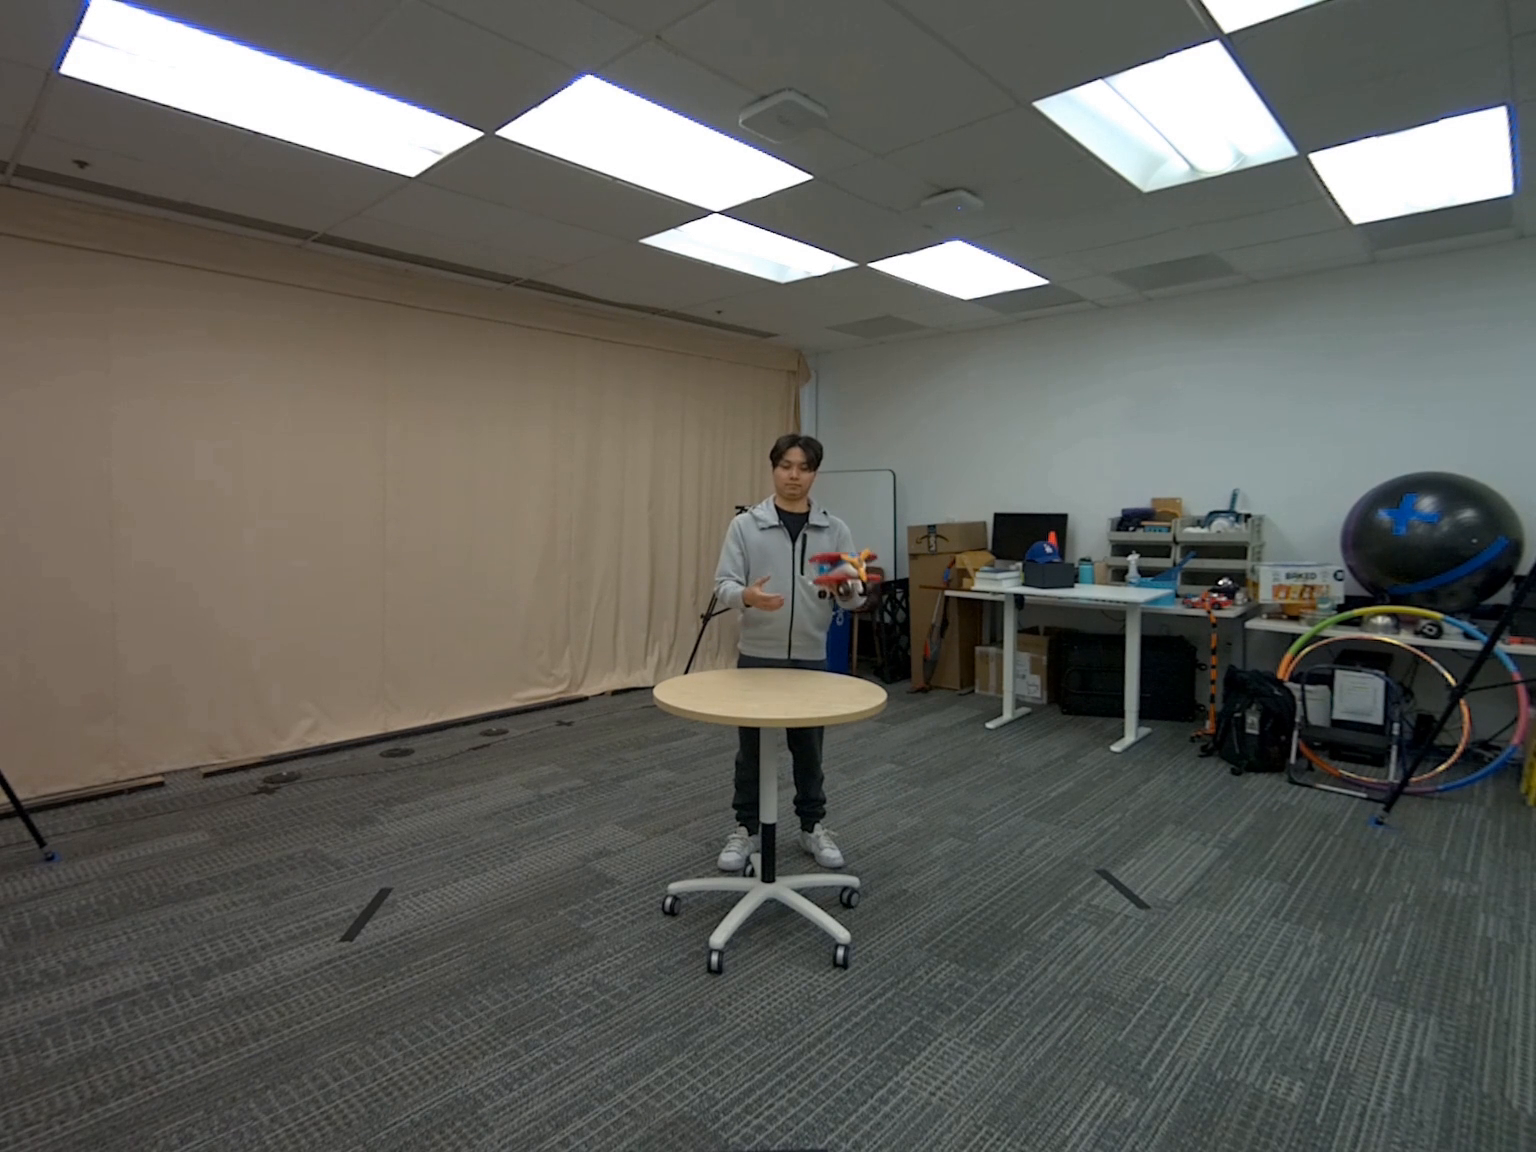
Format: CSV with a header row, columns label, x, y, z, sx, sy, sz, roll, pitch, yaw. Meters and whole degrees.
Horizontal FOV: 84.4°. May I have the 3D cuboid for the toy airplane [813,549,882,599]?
label,x,y,z,sx,sy,sz,roll,pitch,yaw
toy airplane,0.228,-0.006,2.894,0.267,0.157,0.243,-4,-4,37
